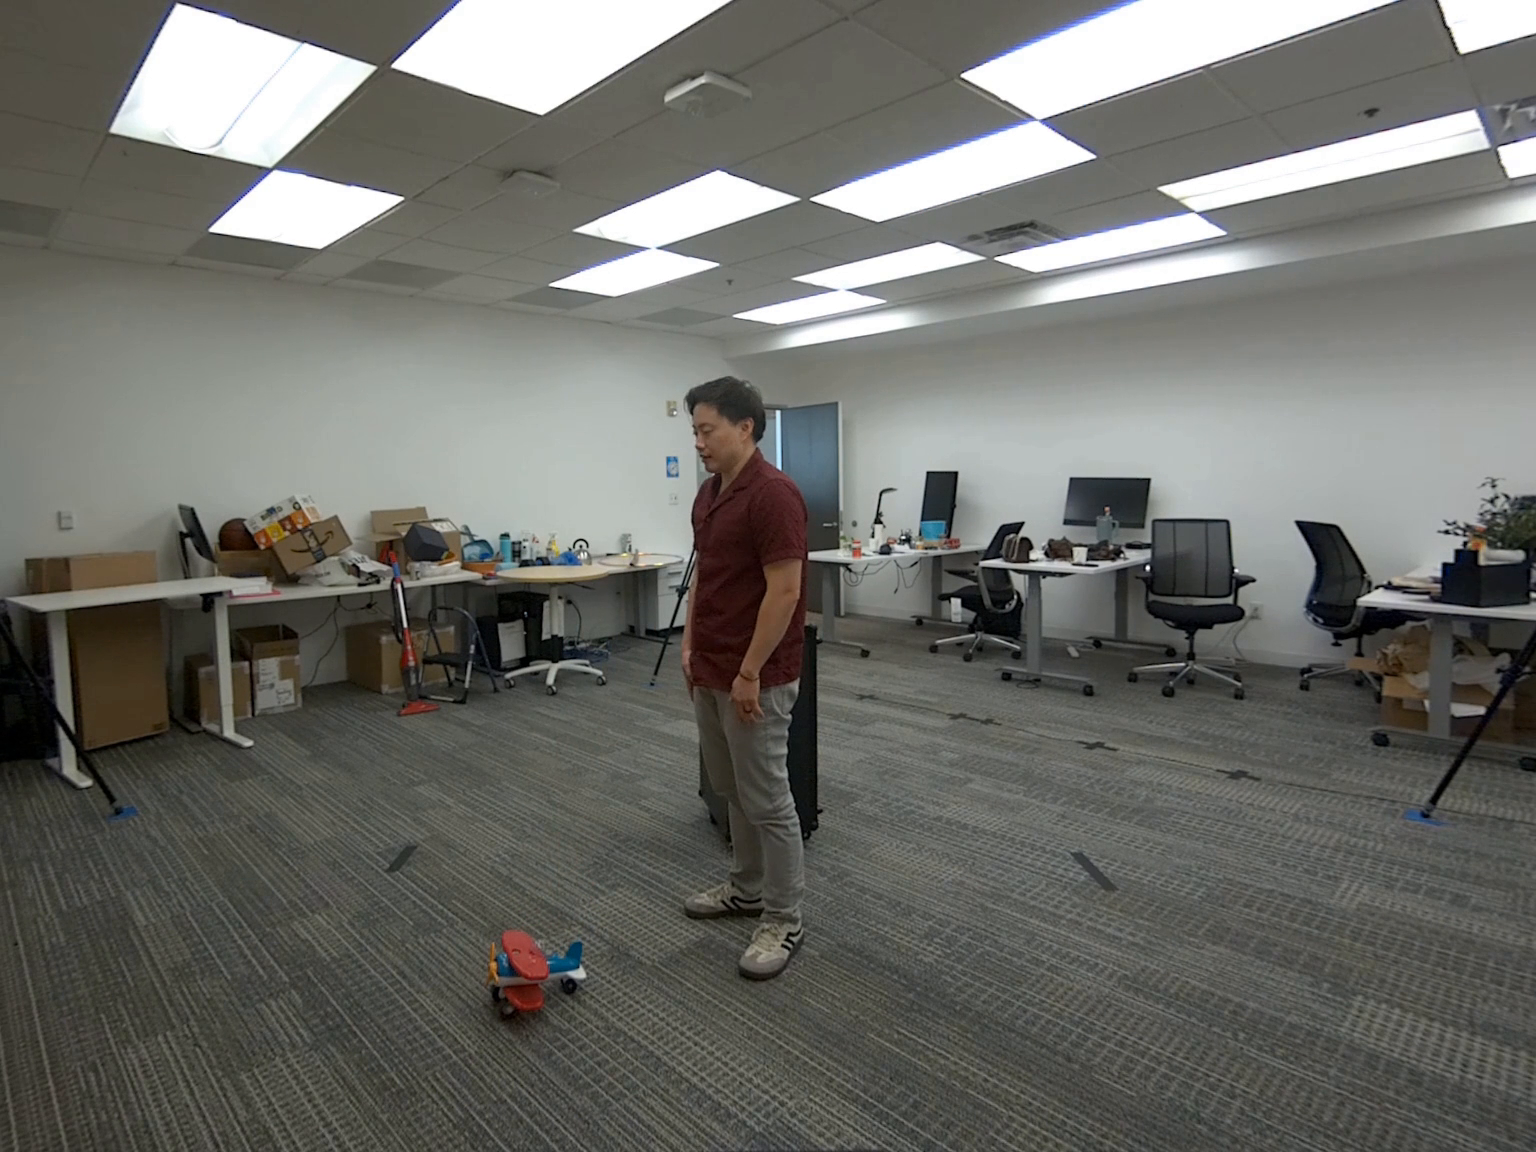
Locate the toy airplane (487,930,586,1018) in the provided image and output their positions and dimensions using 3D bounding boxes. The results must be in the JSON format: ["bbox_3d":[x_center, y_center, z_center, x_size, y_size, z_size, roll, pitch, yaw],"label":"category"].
[{"bbox_3d":[-0.638,1.076,2.326,0.258,0.155,0.254,3,8,32],"label":"toy airplane"}]
